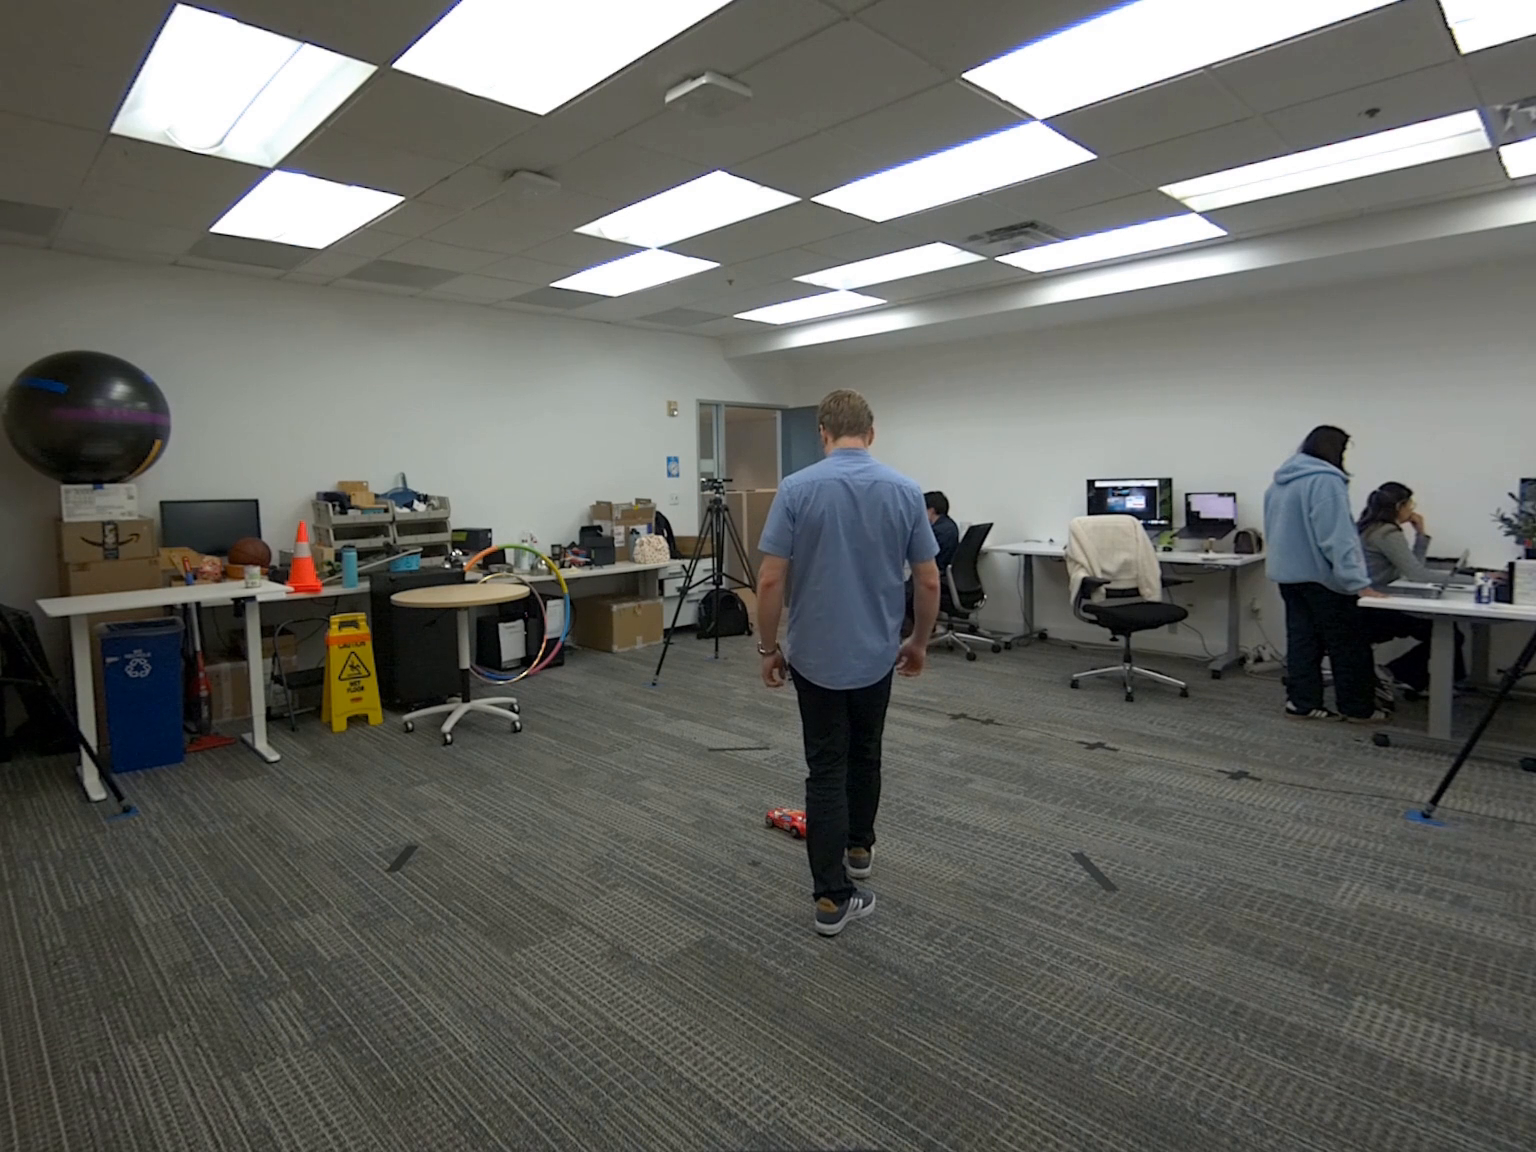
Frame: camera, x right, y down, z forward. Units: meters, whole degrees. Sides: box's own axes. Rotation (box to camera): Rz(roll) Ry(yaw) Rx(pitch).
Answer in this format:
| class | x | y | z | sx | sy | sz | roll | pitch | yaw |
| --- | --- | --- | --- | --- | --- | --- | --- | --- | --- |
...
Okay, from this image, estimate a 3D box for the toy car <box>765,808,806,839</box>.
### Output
| class | x | y | z | sx | sy | sz | roll | pitch | yaw |
| --- | --- | --- | --- | --- | --- | --- | --- | --- | --- |
| toy car | 0.112 | 0.977 | 3.389 | 0.127 | 0.083 | 0.260 | -5 | -3 | -40 |
